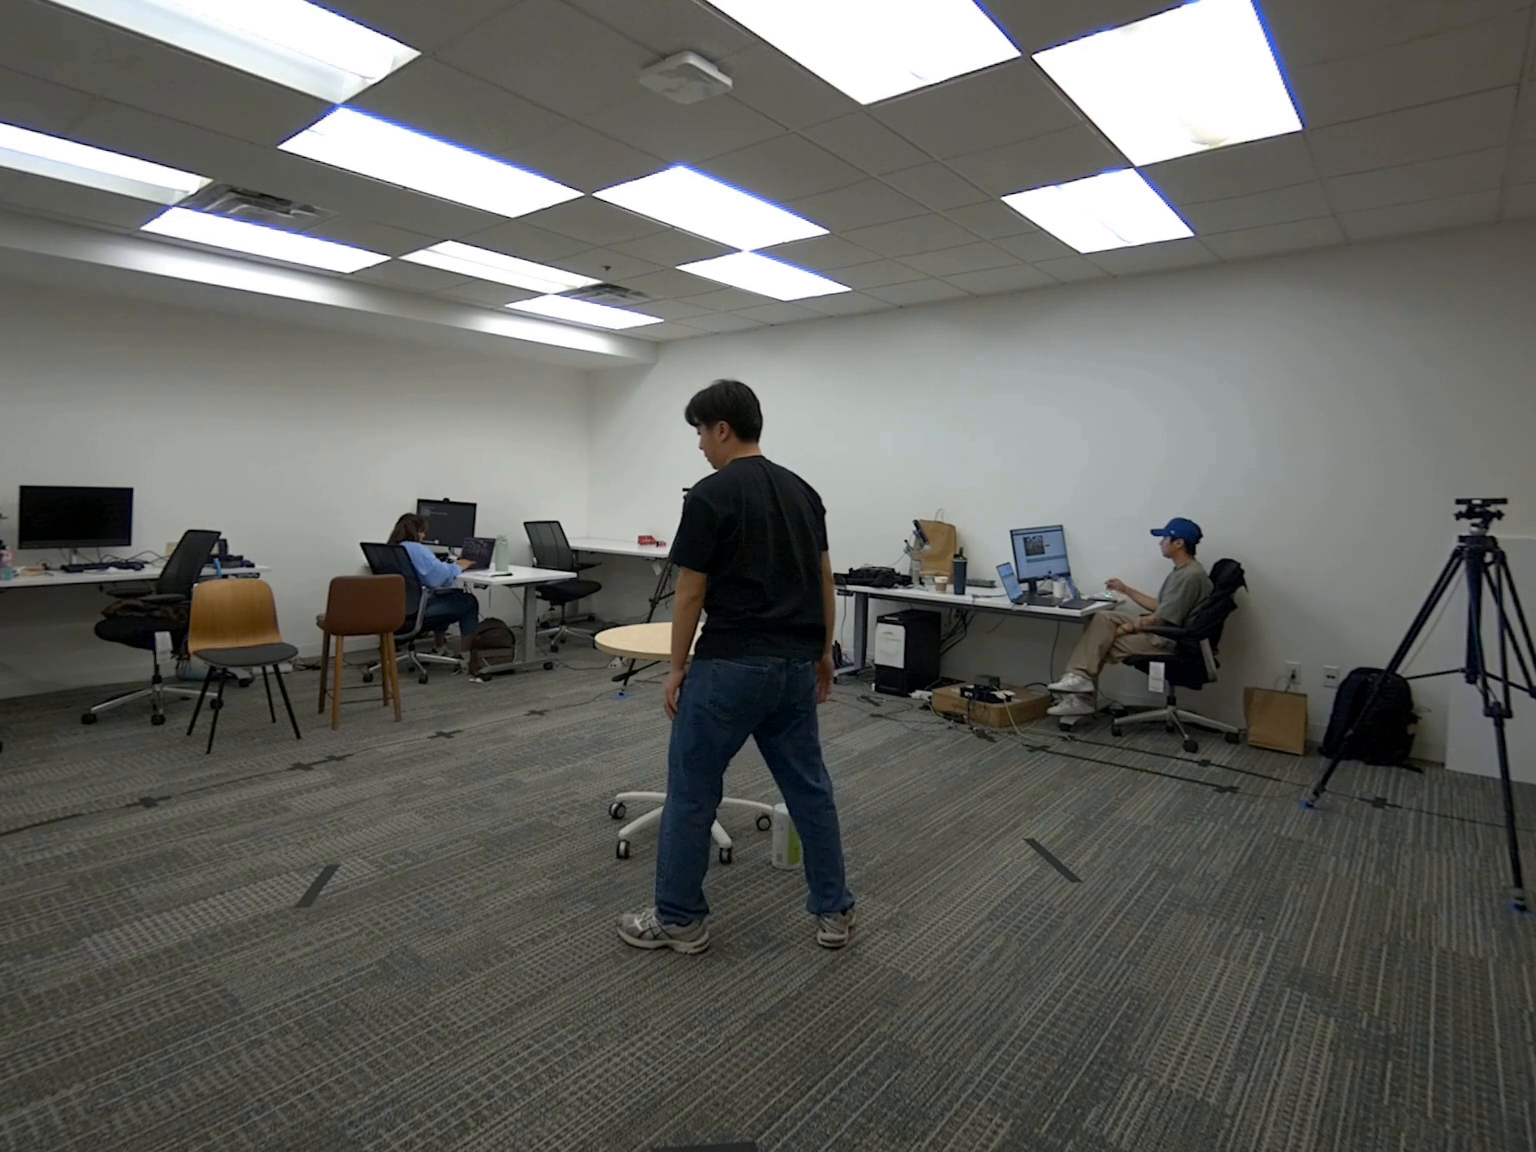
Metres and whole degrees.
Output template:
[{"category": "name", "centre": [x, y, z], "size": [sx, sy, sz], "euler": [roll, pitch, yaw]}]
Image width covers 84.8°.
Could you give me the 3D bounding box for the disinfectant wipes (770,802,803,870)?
[{"category": "disinfectant wipes", "centre": [0.068, 0.969, 3.157], "size": [0.118, 0.217, 0.118], "euler": [3, 0, -2]}]
